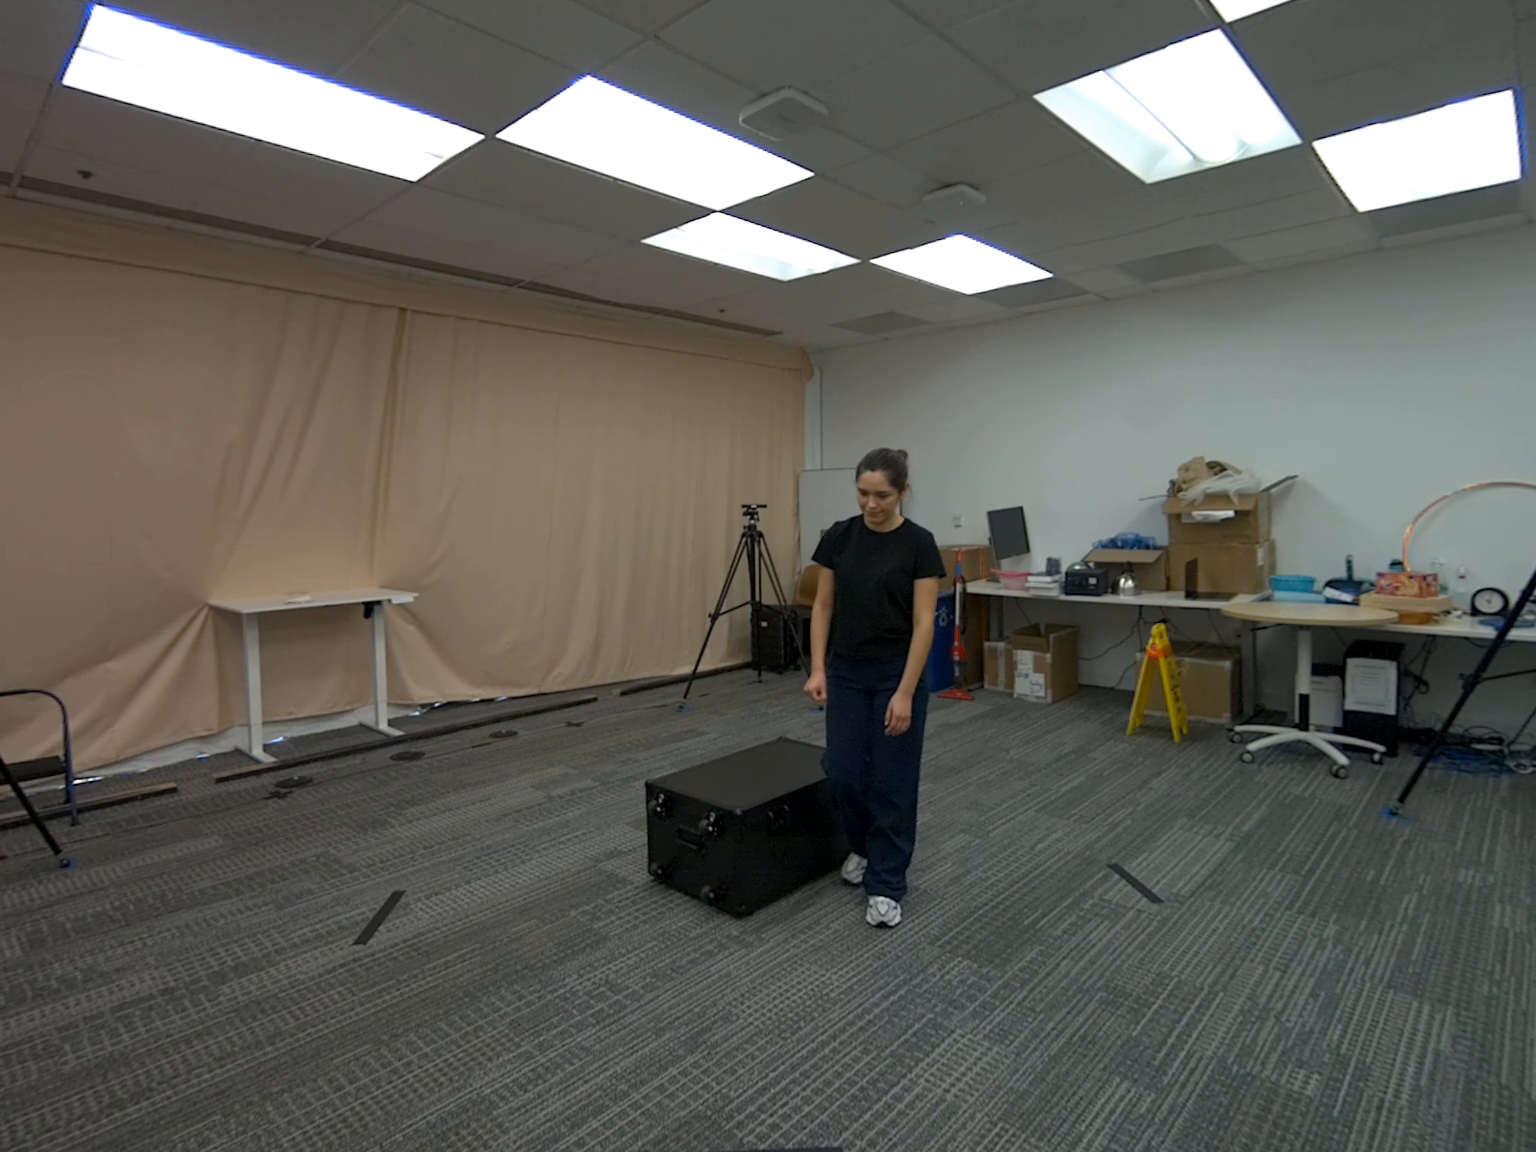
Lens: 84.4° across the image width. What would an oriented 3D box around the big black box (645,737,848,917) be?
[{"bbox_3d":[-0.027,0.928,3.217,0.538,0.395,0.835,3,5,43],"label":"big black box"}]
